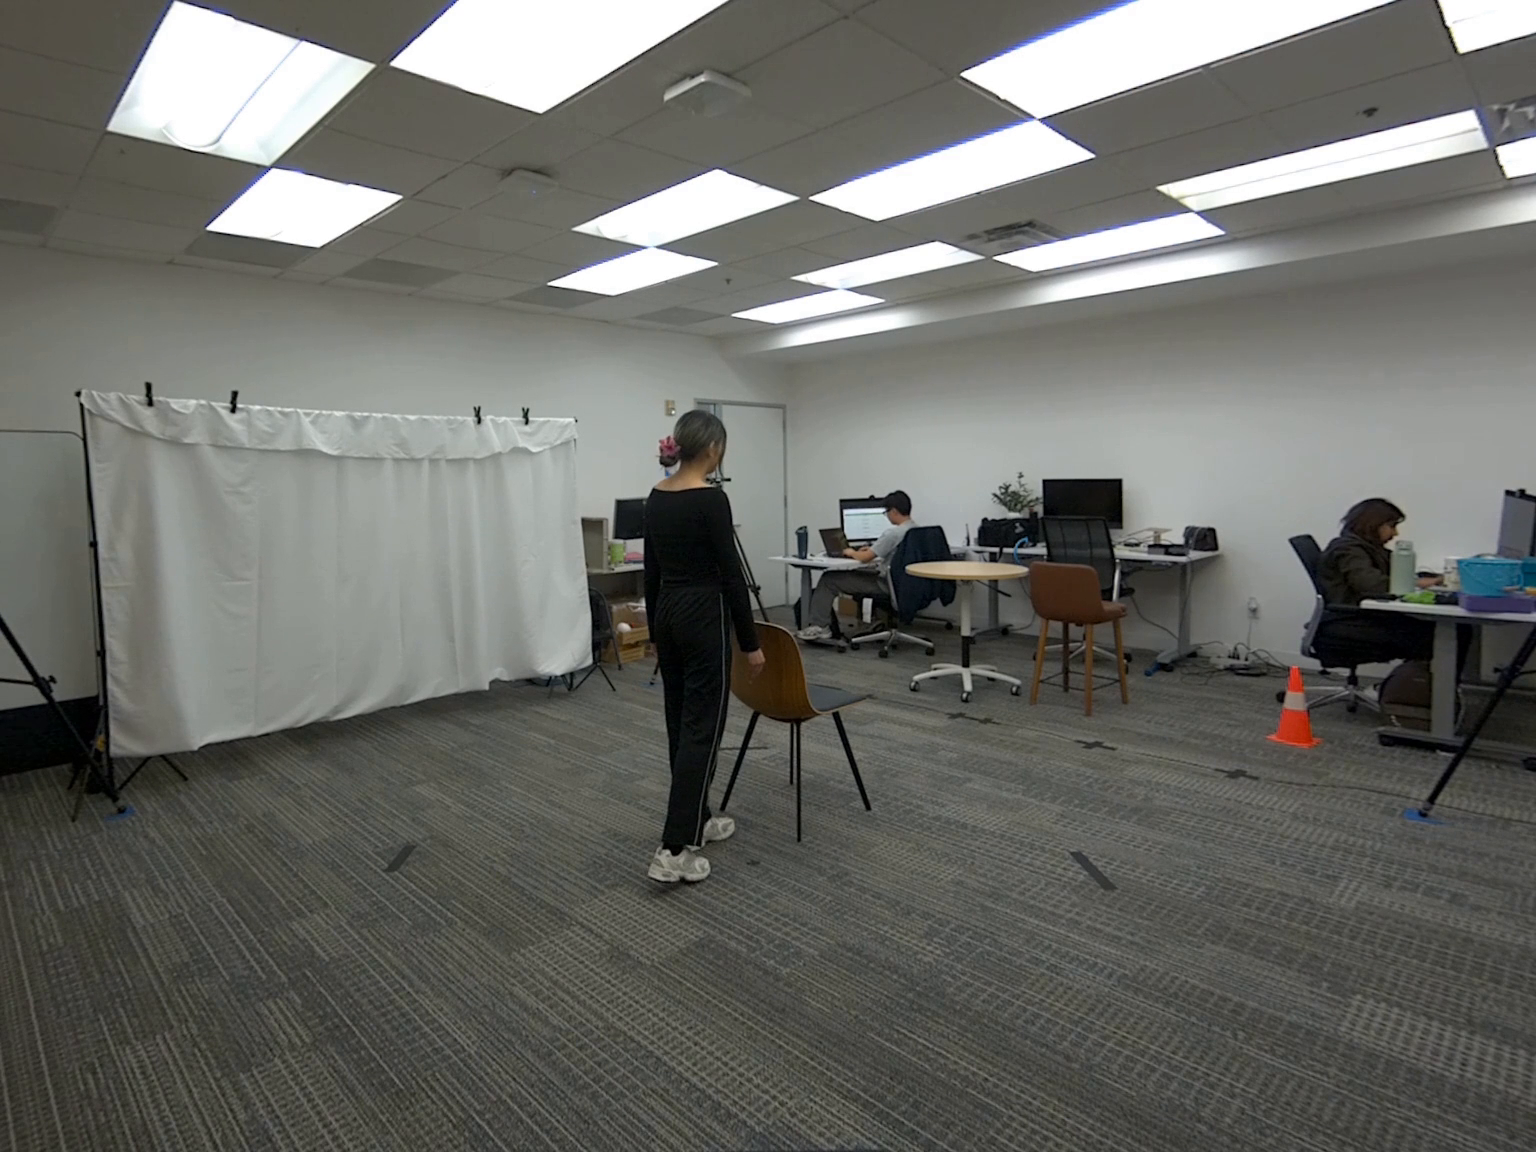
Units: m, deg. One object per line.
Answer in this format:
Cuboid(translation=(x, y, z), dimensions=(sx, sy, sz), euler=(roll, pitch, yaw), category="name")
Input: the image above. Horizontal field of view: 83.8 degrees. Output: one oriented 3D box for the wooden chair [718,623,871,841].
Cuboid(translation=(0.117, 0.562, 3.569), dimensions=(0.511, 0.872, 0.493), euler=(-11, 10, -44), category="wooden chair")
